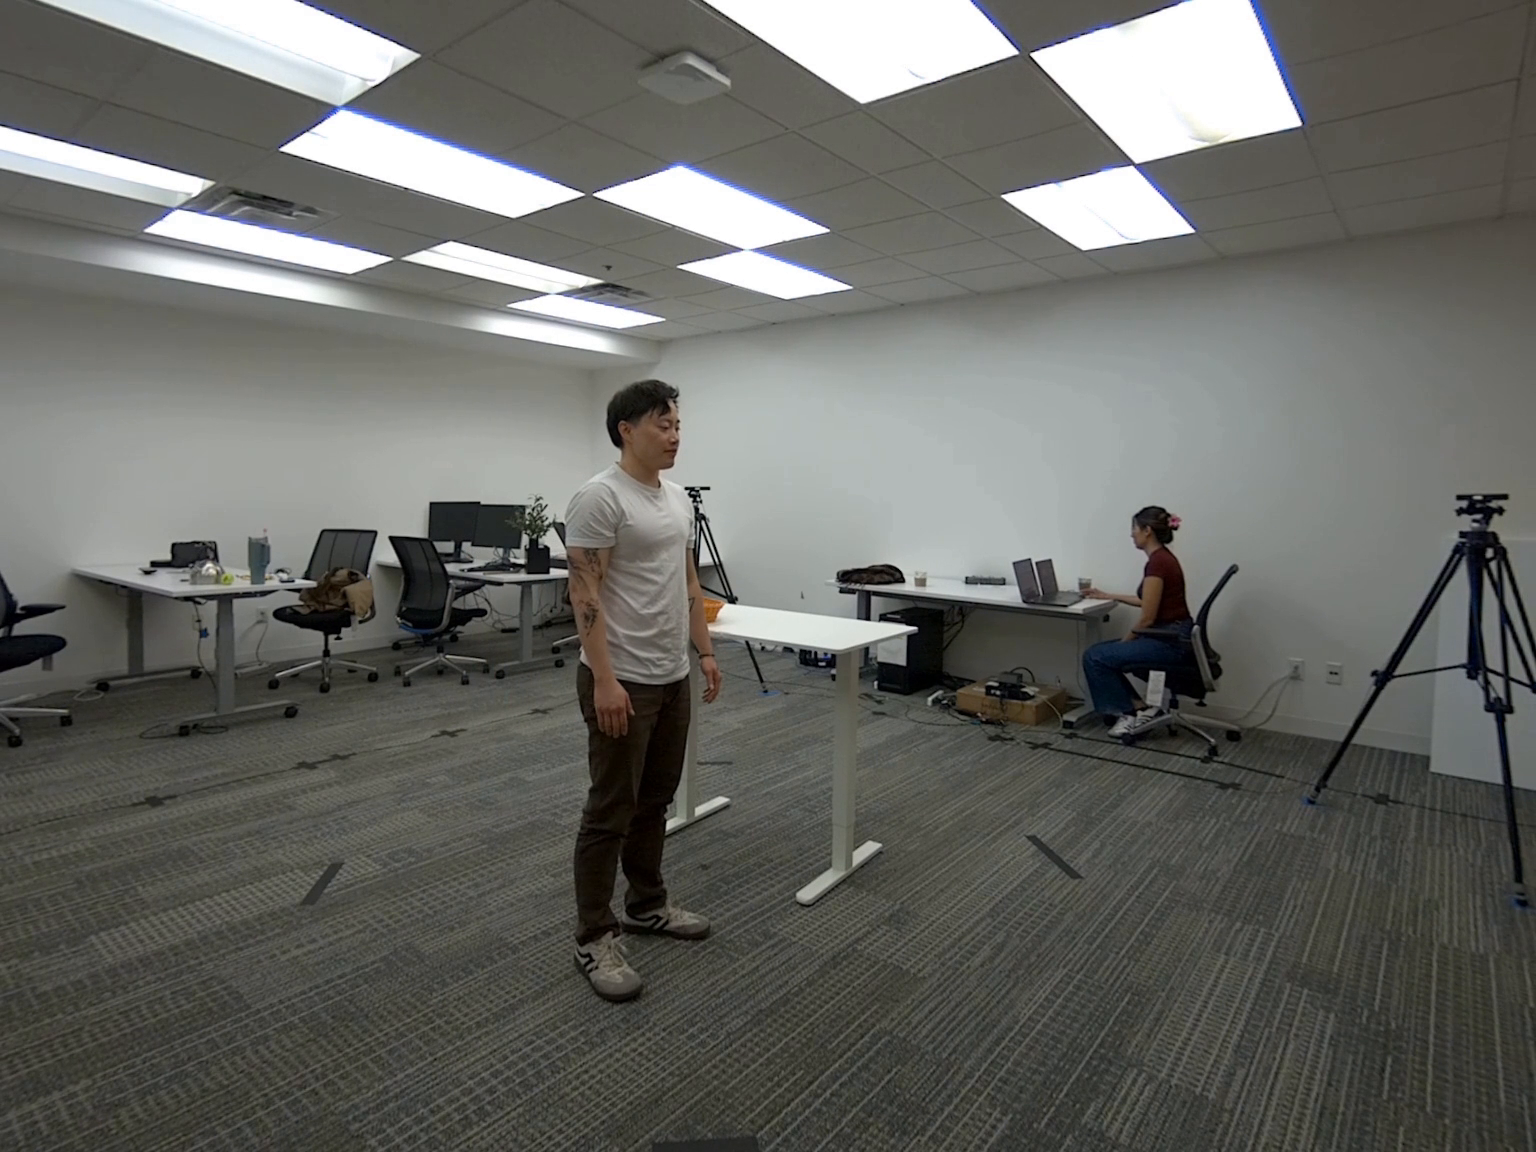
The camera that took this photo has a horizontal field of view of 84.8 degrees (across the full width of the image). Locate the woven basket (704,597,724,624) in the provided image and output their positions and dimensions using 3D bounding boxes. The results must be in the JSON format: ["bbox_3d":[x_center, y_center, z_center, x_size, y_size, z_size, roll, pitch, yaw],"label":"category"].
[{"bbox_3d":[-0.317,0.129,3.305,0.245,0.073,0.362,-3,6,-33],"label":"woven basket"}]
